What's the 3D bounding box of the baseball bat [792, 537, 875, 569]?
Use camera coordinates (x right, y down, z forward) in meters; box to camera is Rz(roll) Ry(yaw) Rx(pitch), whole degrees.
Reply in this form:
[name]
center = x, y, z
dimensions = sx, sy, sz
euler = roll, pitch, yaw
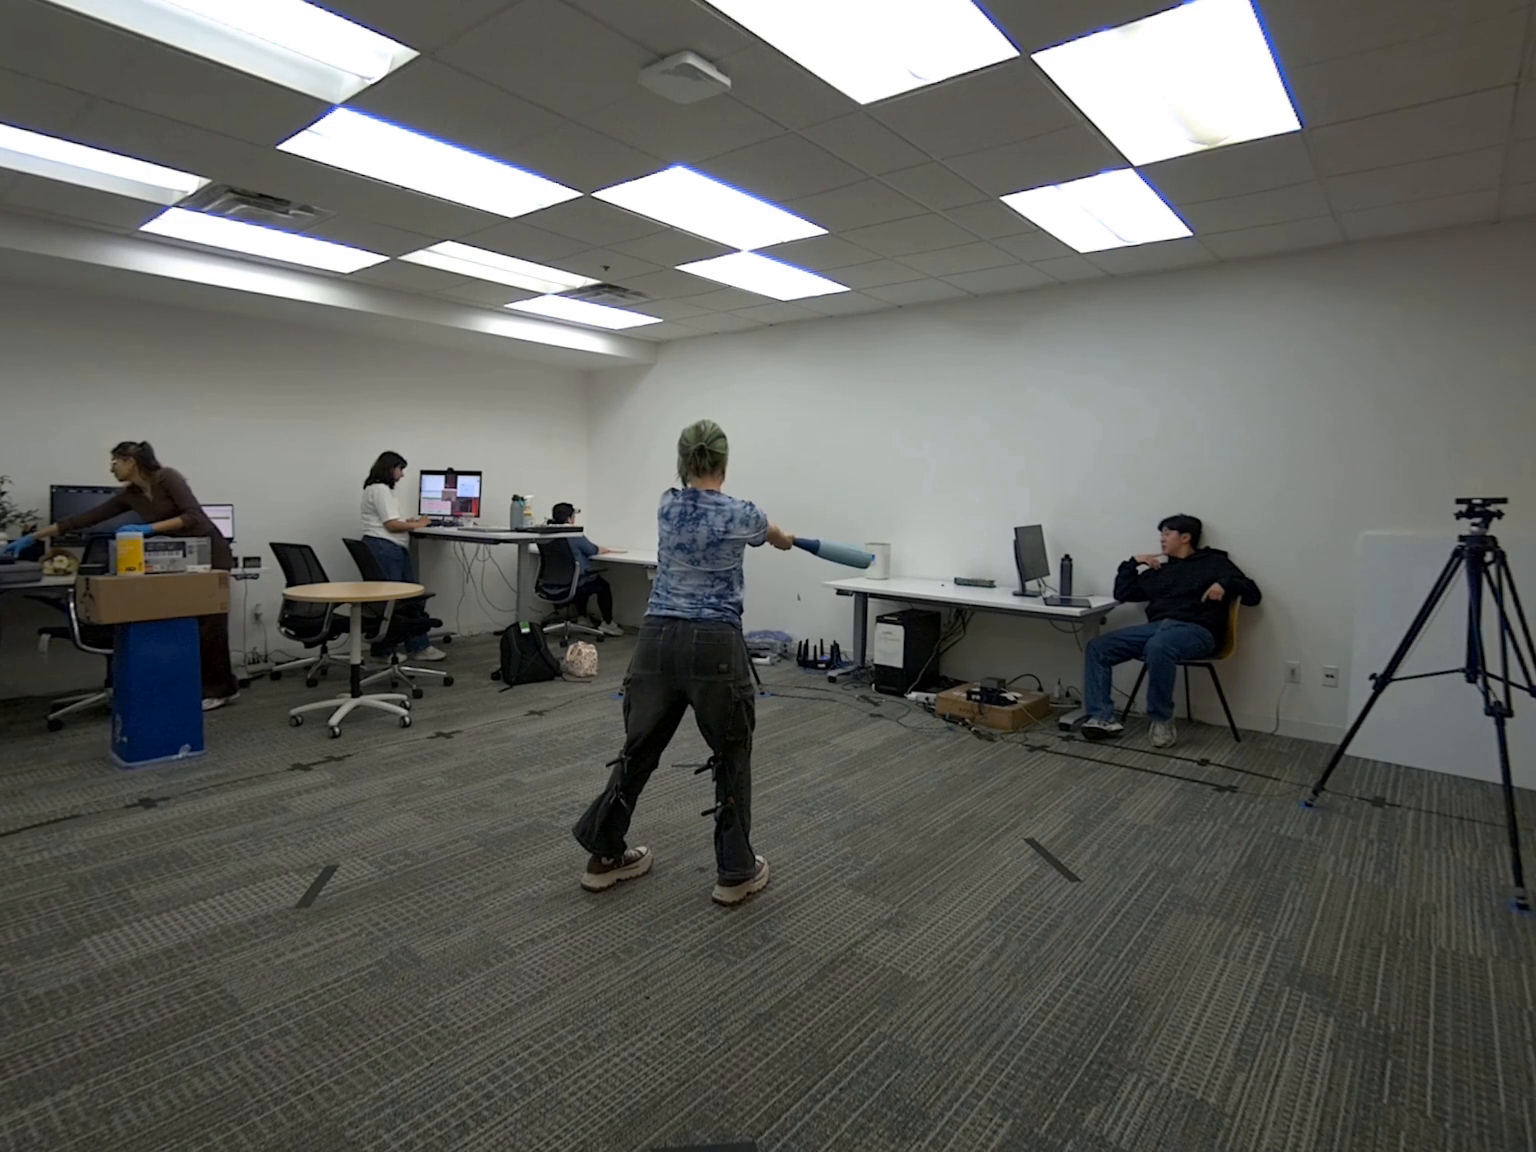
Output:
[baseball bat]
center = 0.172, -0.126, 3.535
dimensions = 0.533, 0.089, 0.090
euler = 13, 1, -14
